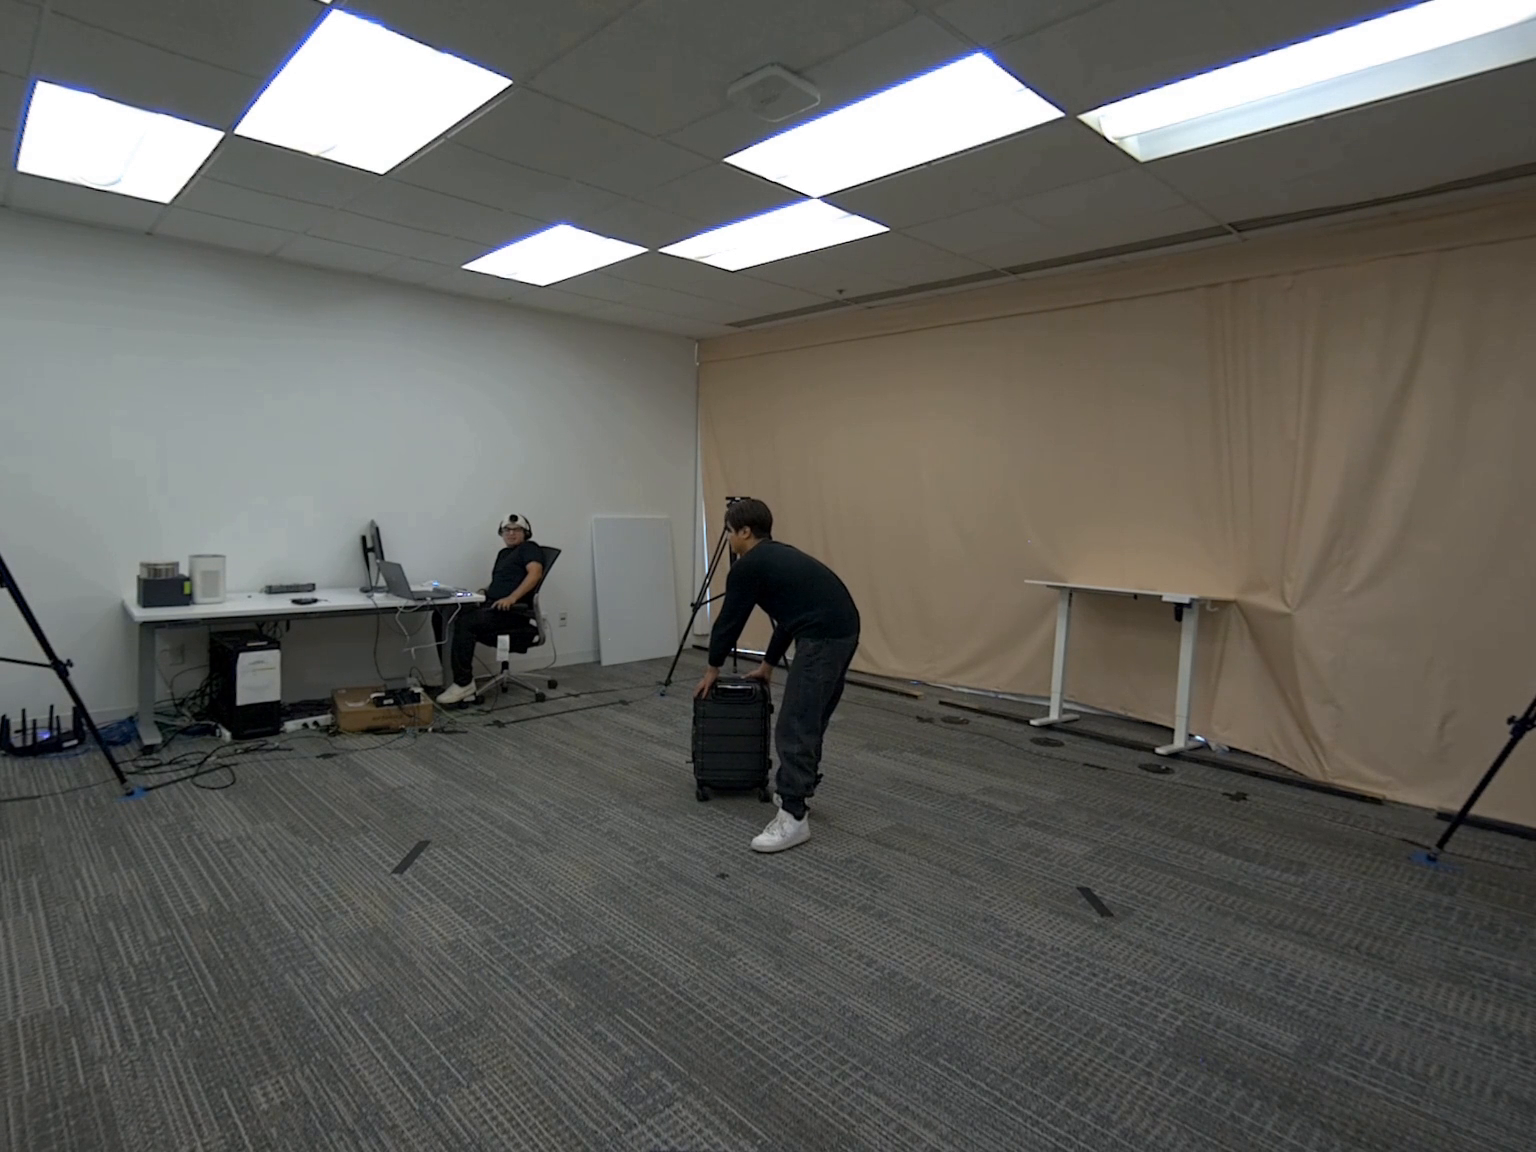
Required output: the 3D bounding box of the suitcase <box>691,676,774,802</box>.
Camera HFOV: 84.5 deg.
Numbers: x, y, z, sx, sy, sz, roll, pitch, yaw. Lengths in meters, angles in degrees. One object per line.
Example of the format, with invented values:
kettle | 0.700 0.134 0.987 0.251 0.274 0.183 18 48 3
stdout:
suitcase | -0.185 0.753 4.009 0.375 0.548 0.249 1 2 -3
